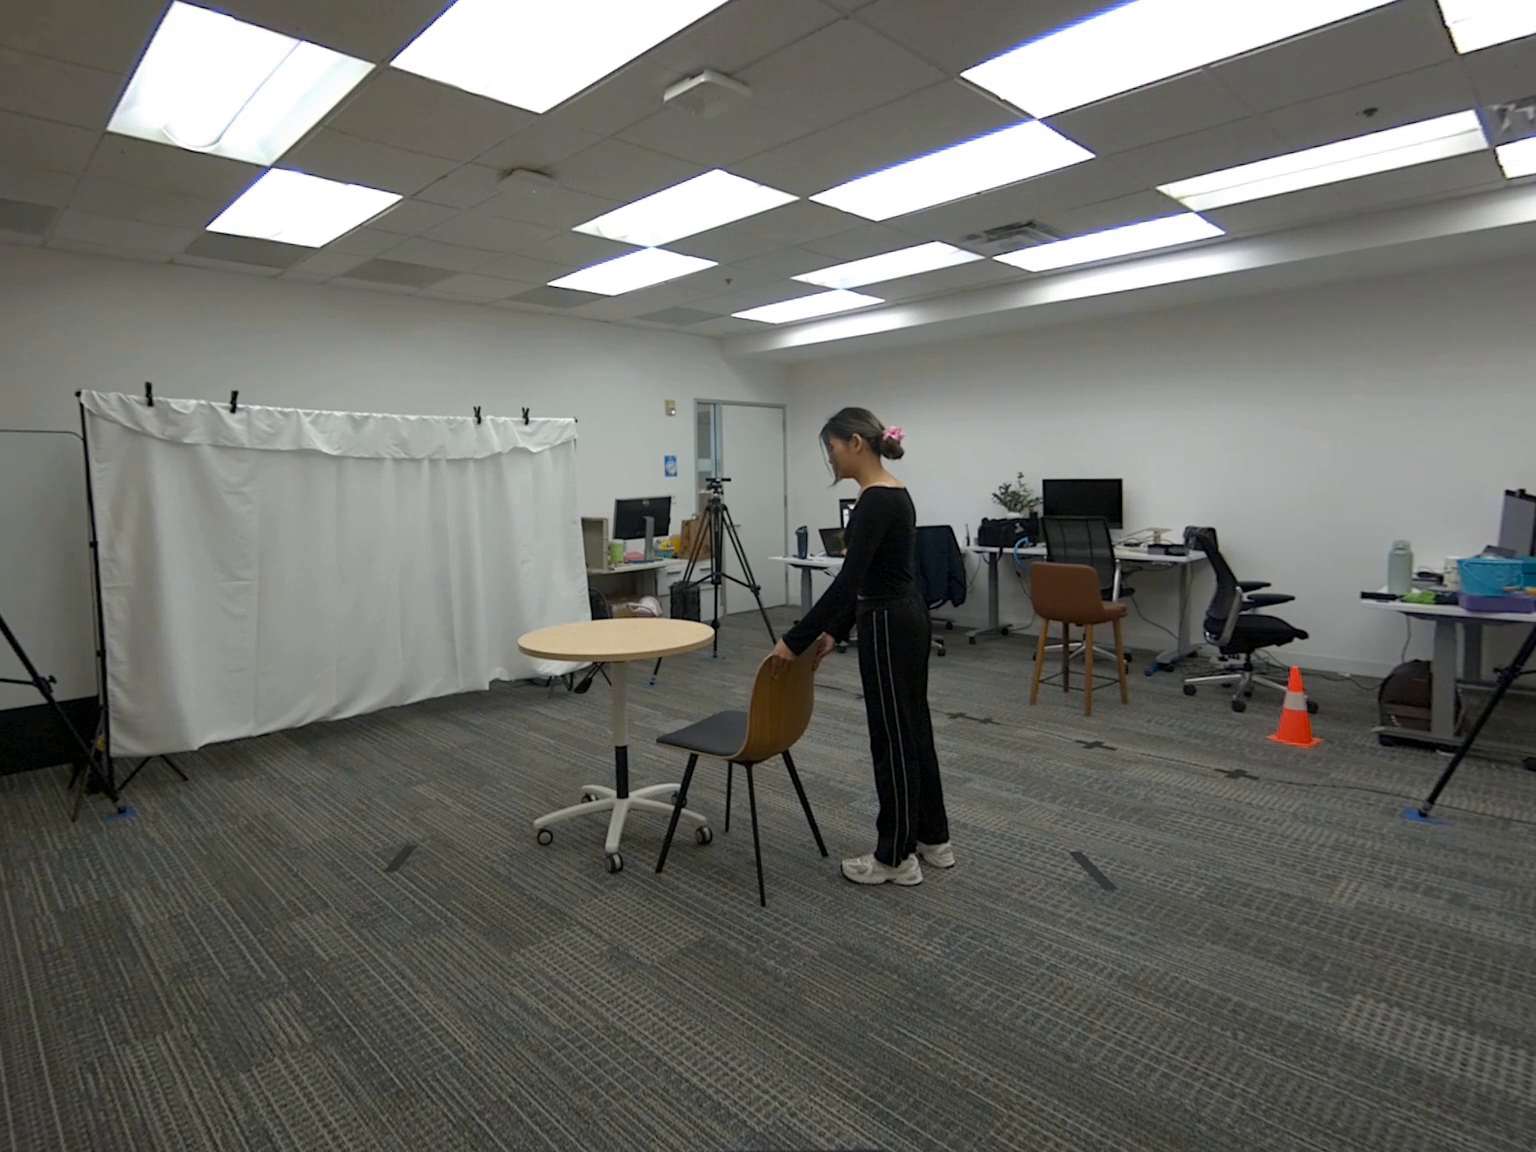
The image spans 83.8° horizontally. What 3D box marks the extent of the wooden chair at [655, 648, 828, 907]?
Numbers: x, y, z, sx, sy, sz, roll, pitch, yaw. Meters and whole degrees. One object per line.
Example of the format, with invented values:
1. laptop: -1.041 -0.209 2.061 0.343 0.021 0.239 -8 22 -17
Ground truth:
1. wooden chair: -0.098 0.619 3.061 0.539 0.872 0.467 7 8 33
